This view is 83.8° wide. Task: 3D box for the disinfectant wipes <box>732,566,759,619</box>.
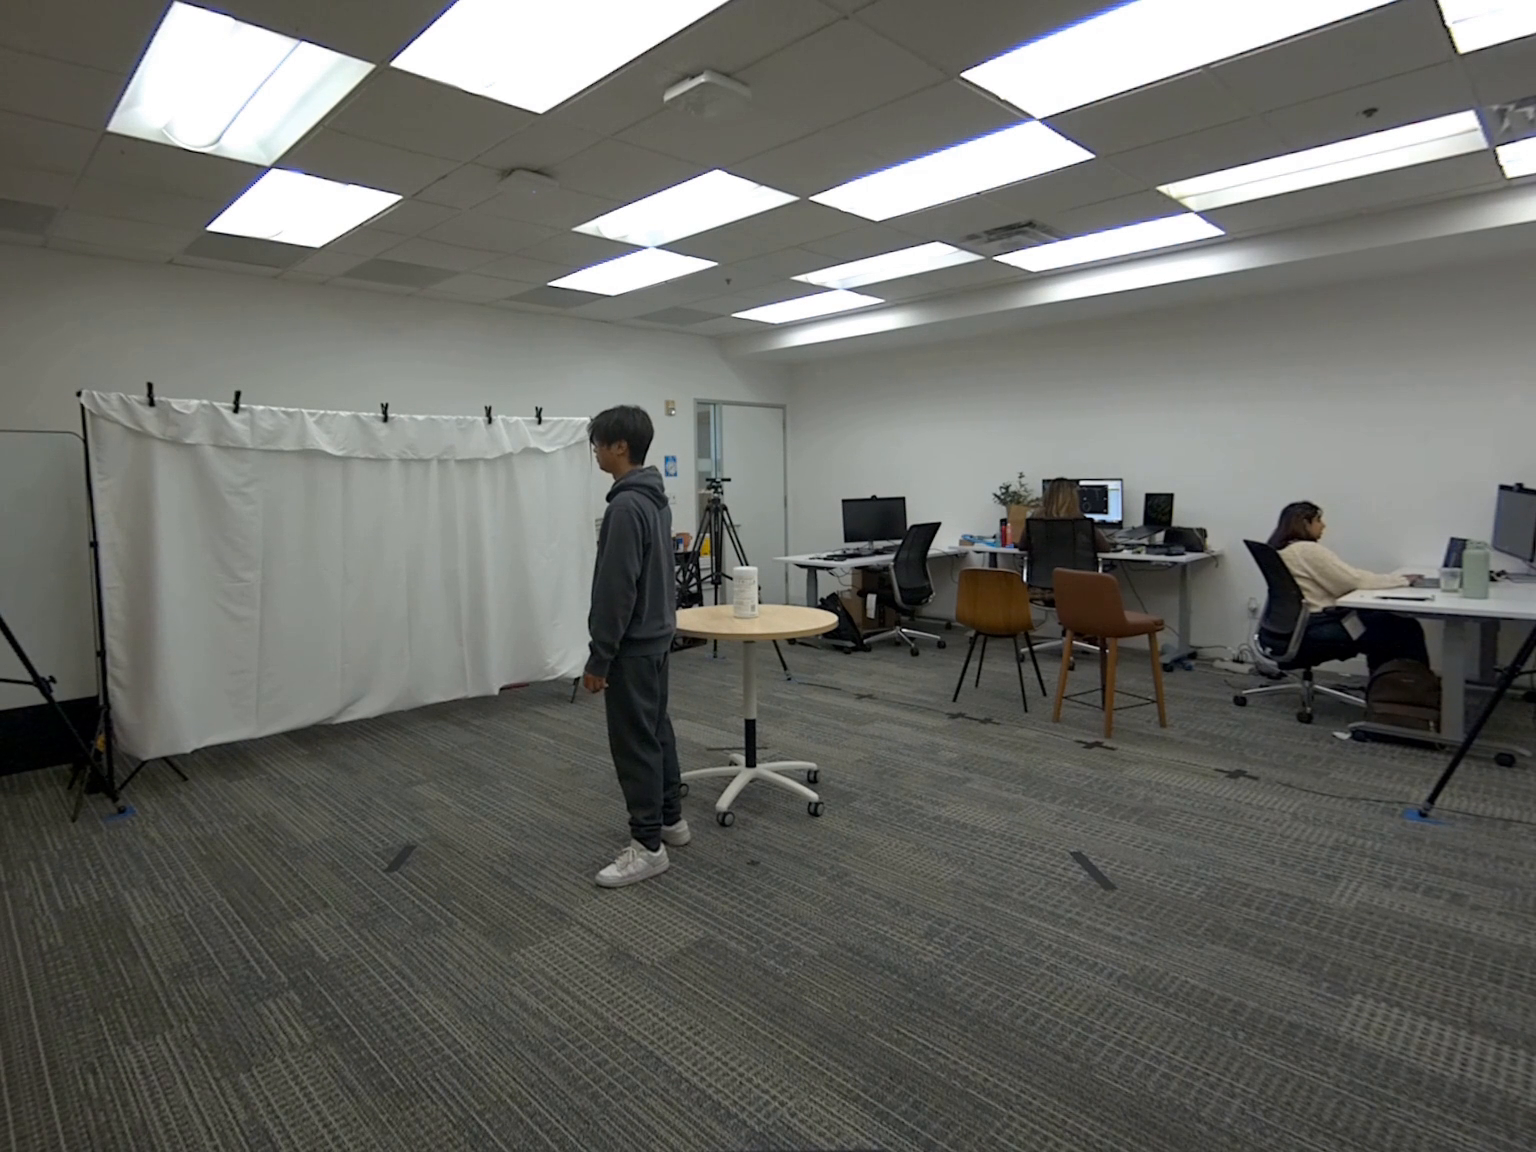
[{"bbox_3d":[-0.095,0.070,3.711,0.118,0.216,0.118,-2,5,-1],"label":"disinfectant wipes"}]
